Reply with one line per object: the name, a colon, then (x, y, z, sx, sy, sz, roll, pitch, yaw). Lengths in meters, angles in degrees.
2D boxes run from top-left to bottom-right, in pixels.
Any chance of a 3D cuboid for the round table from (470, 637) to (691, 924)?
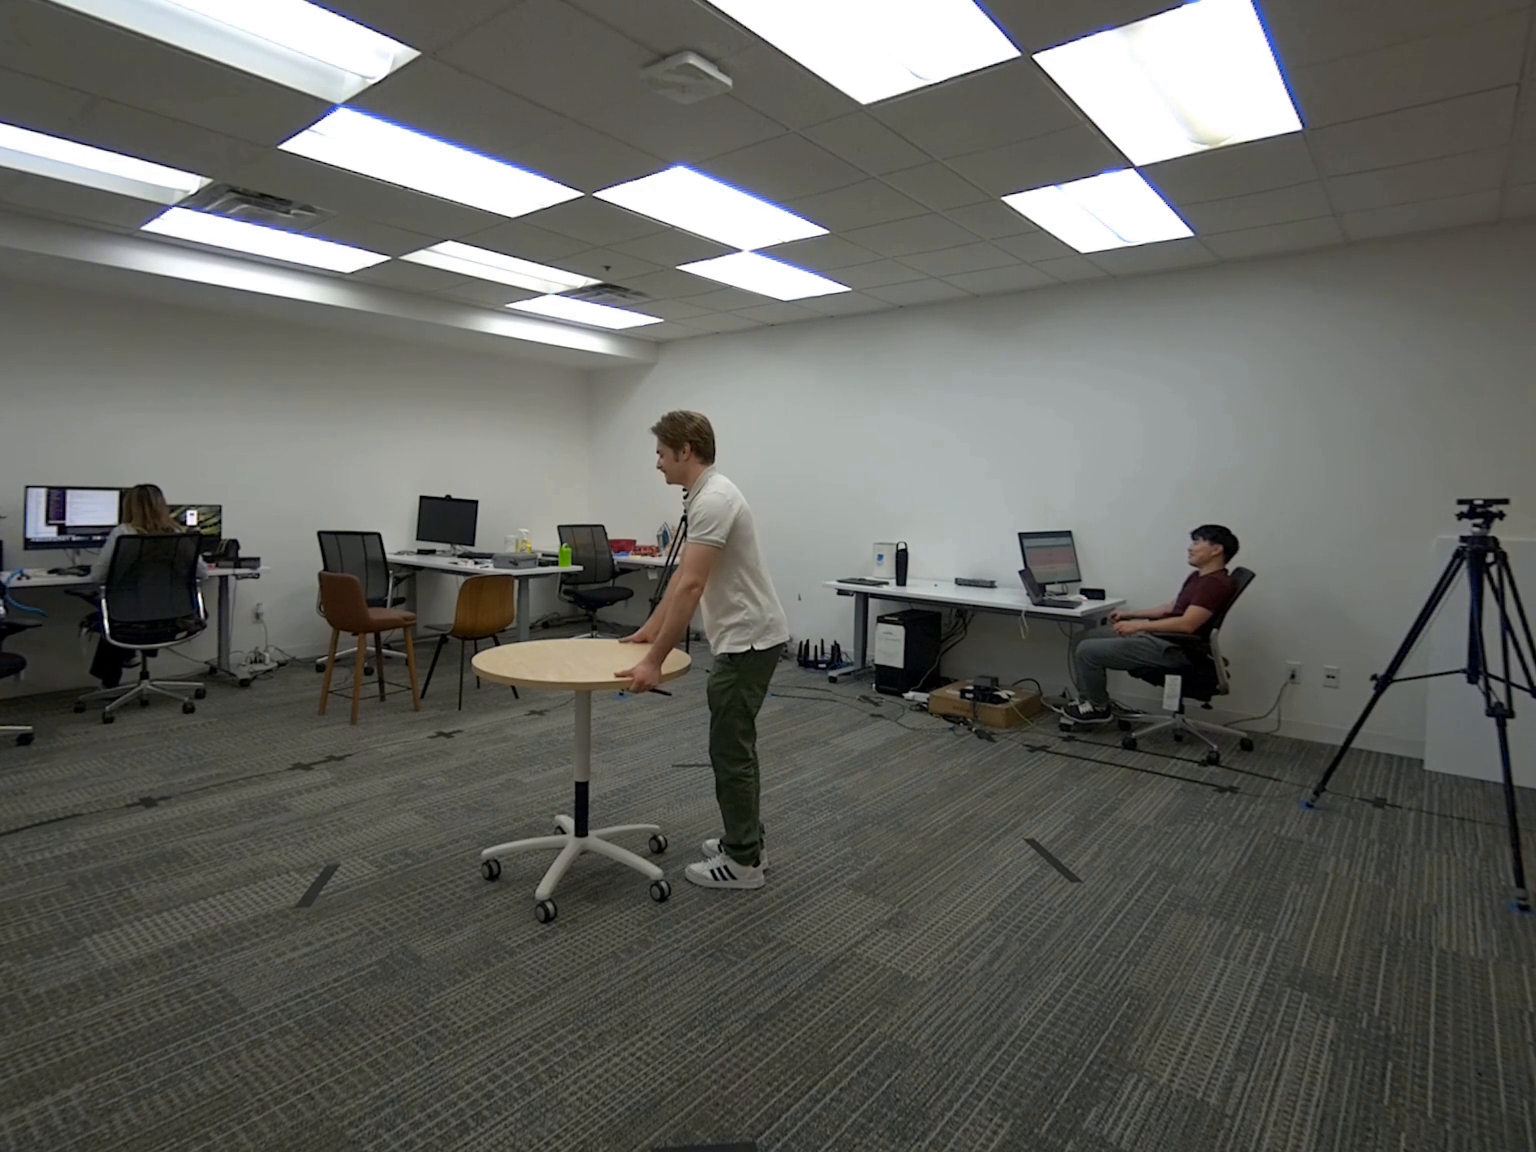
round table: (-0.671, 0.681, 3.039, 0.763, 0.791, 0.768, 1, 4, -2)
